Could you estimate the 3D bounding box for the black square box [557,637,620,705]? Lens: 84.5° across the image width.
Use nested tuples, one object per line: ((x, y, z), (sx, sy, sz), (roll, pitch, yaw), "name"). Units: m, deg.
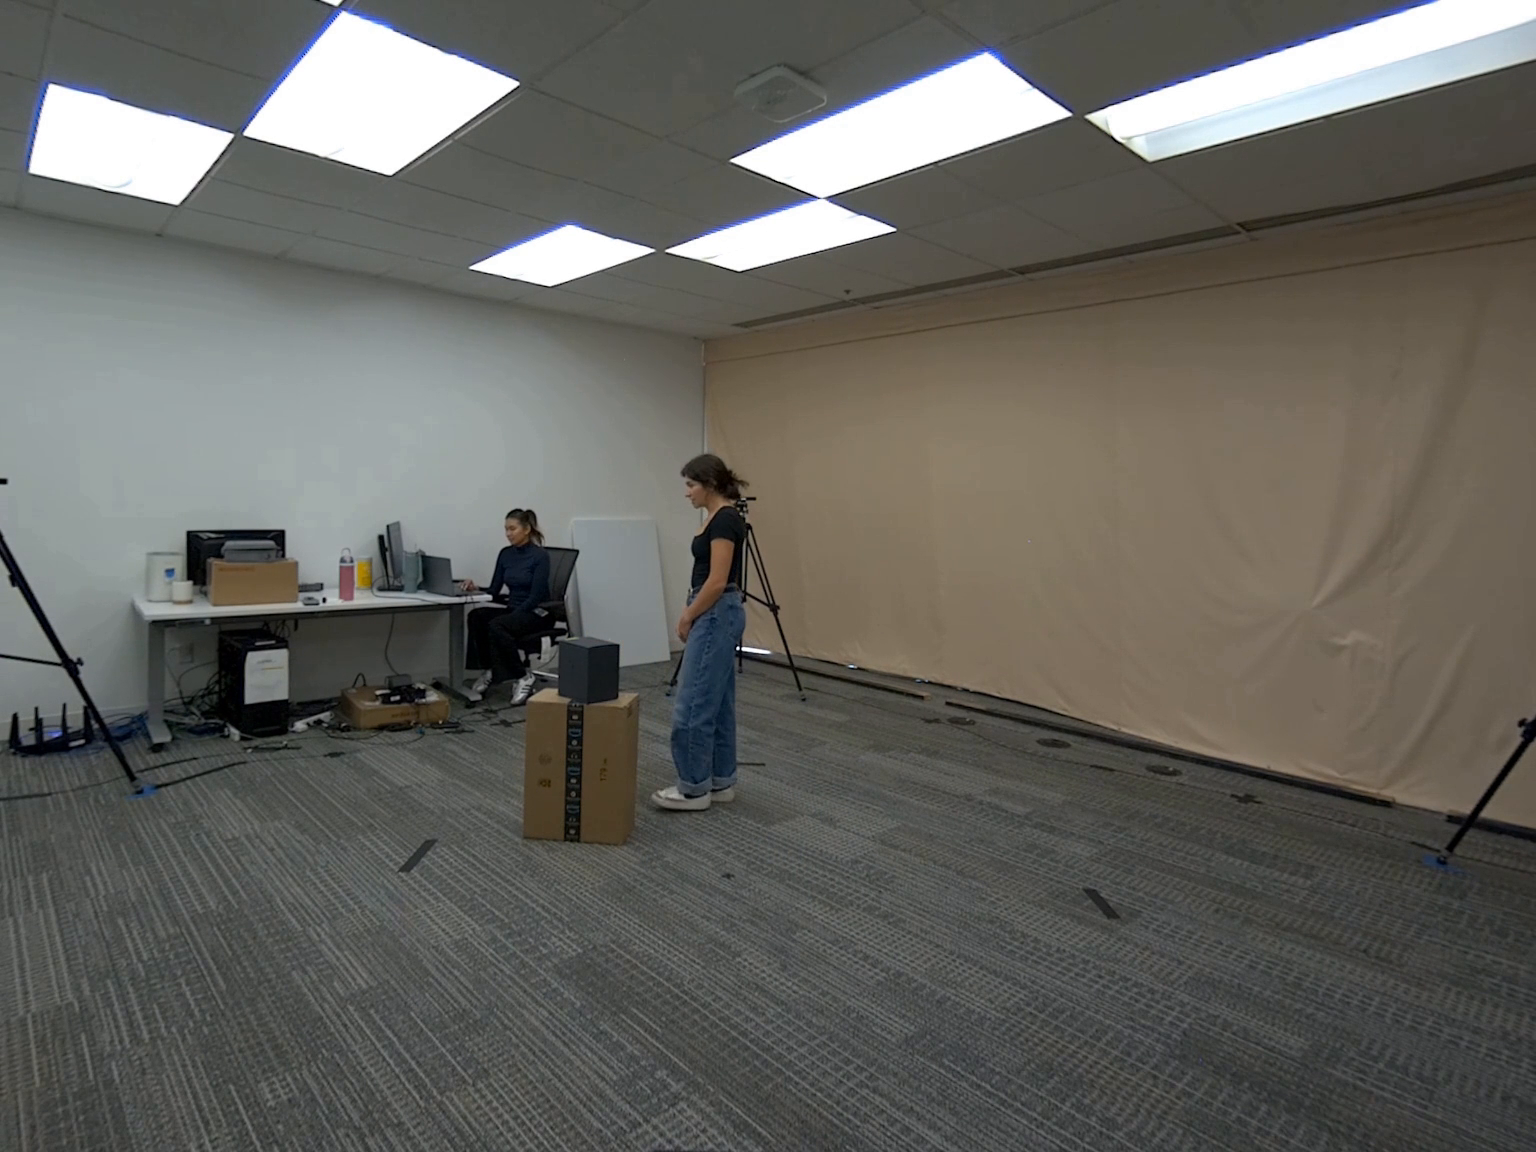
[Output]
((-0.745, 0.378, 3.454), (0.152, 0.227, 0.222), (-3, 7, -45), "black square box")
